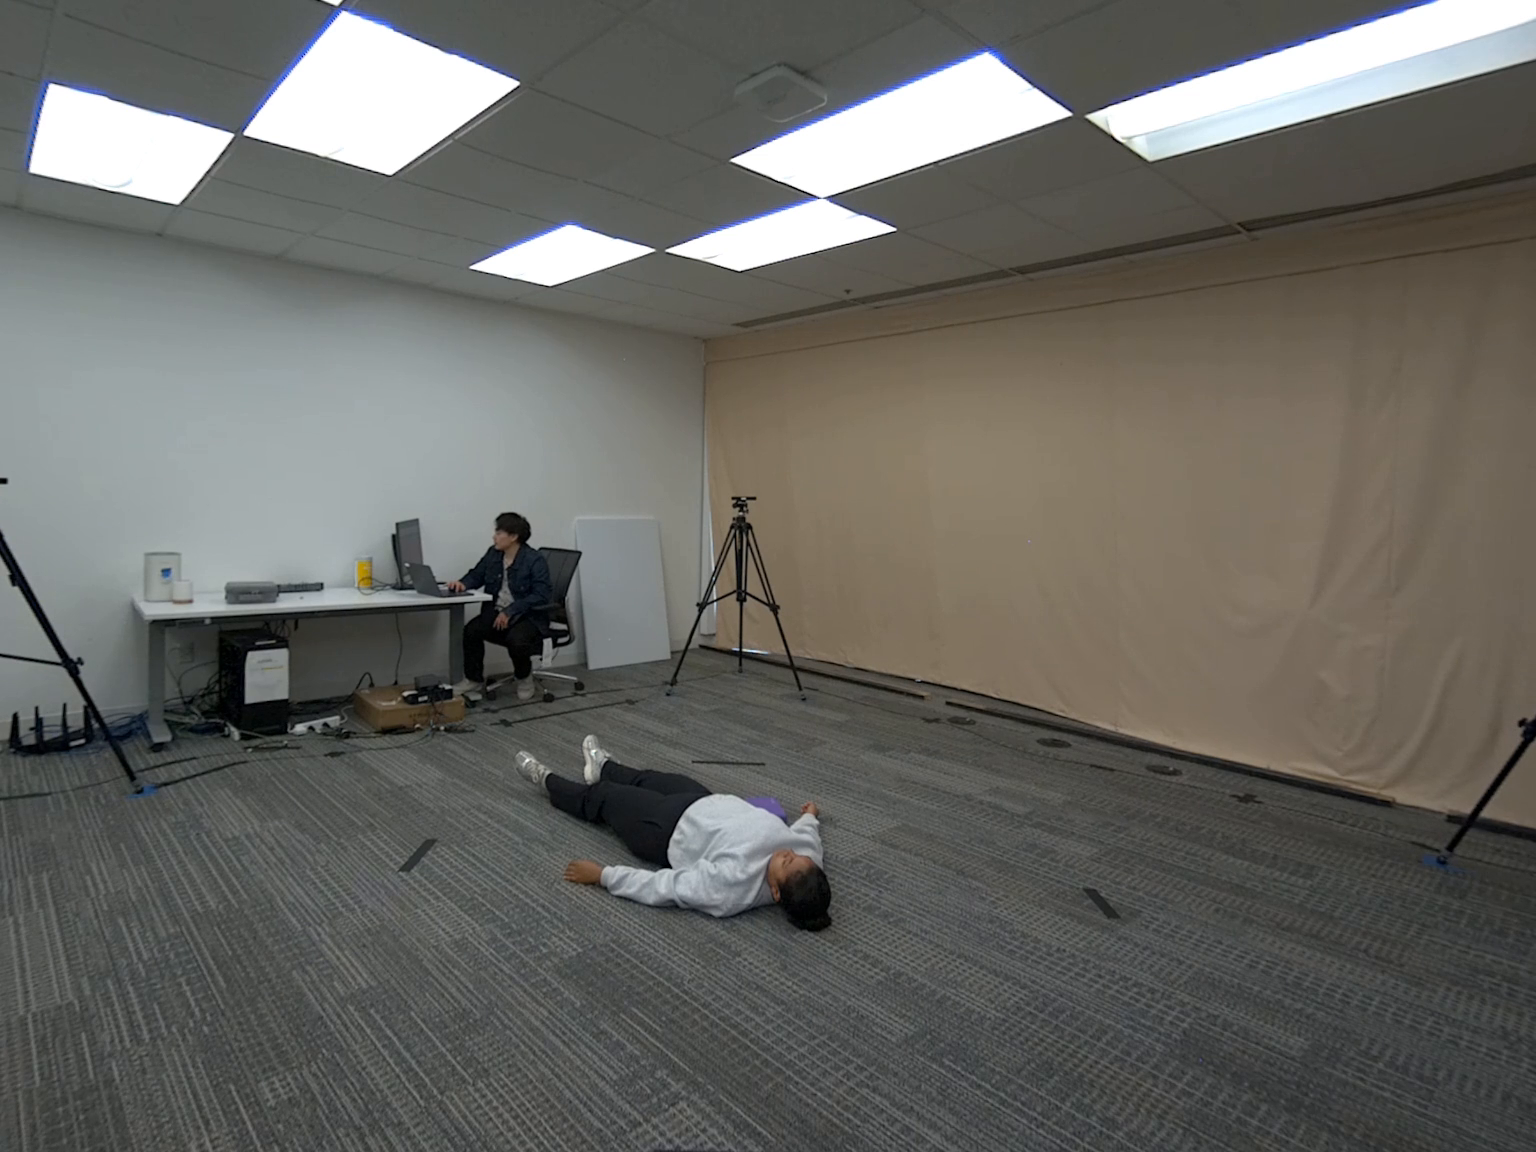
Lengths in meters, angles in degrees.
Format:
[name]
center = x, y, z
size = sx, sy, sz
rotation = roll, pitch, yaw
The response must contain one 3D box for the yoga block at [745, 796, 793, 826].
[yoga block]
center = -0.025, 1.025, 3.621
size = 0.148, 0.076, 0.232
rotation = 0, 5, -11
